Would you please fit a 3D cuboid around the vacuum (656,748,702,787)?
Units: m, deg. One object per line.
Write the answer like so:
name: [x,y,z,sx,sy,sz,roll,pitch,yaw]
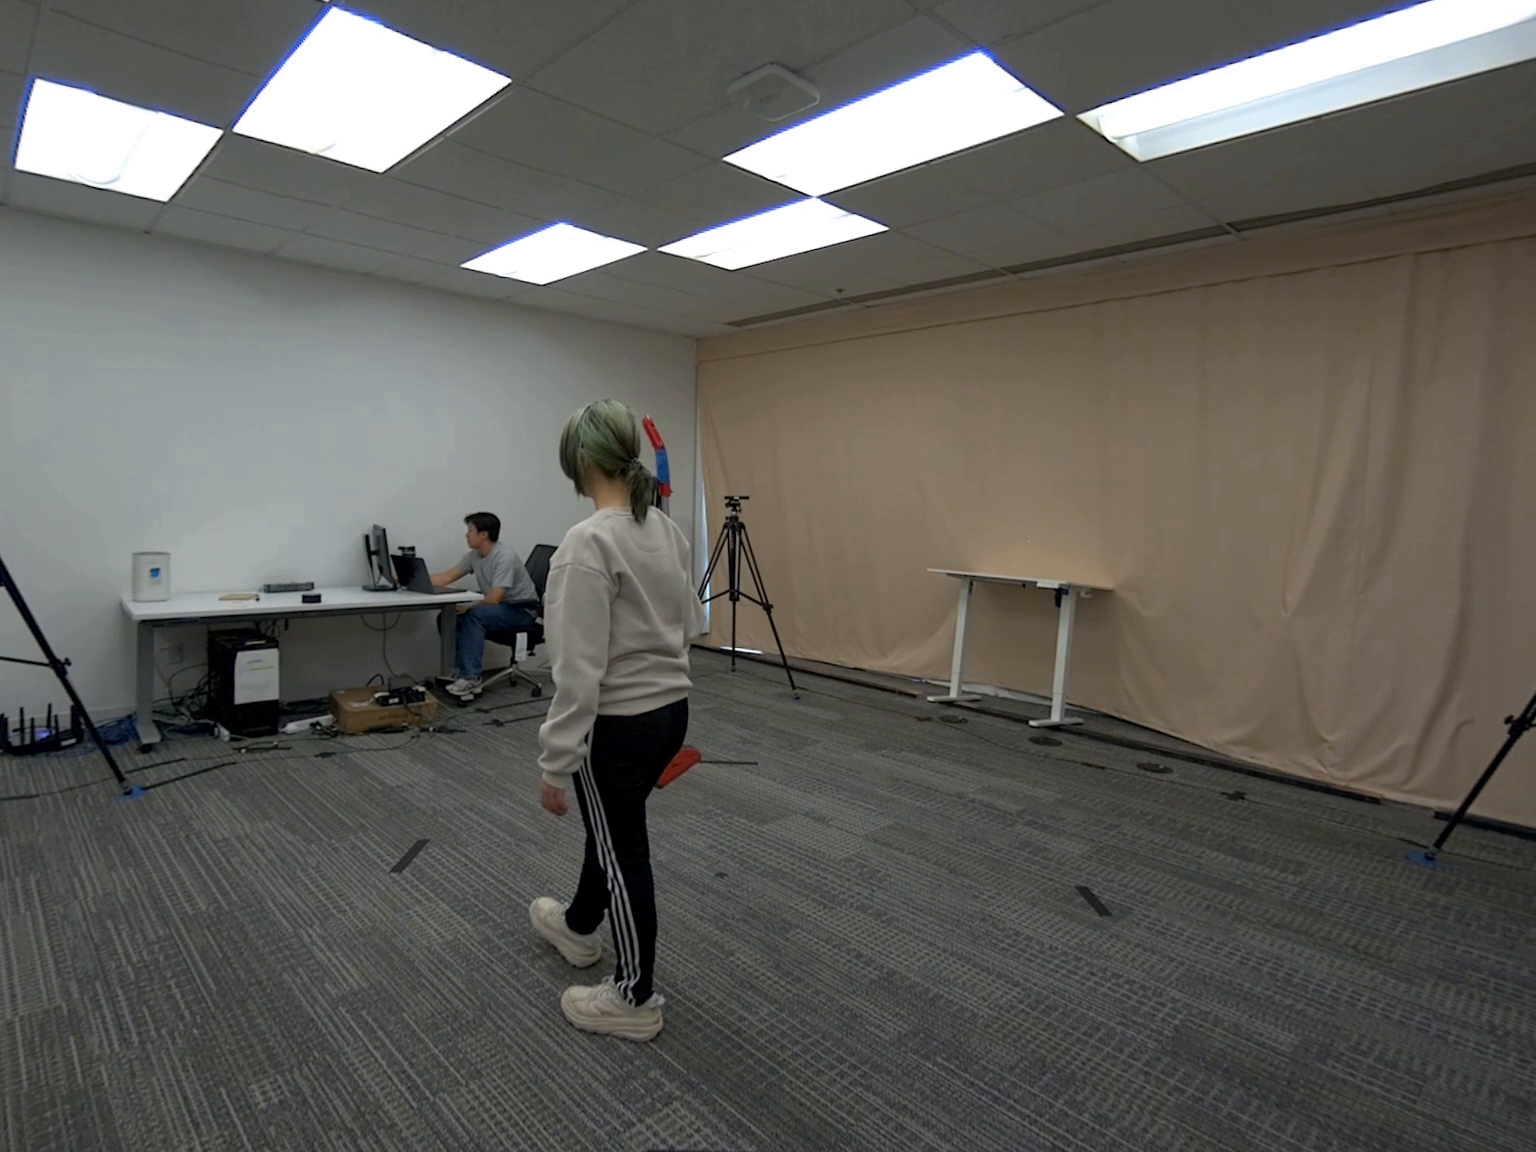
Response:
vacuum: [-0.341,0.059,2.579,0.146,1.043,0.251,-1,7,16]
